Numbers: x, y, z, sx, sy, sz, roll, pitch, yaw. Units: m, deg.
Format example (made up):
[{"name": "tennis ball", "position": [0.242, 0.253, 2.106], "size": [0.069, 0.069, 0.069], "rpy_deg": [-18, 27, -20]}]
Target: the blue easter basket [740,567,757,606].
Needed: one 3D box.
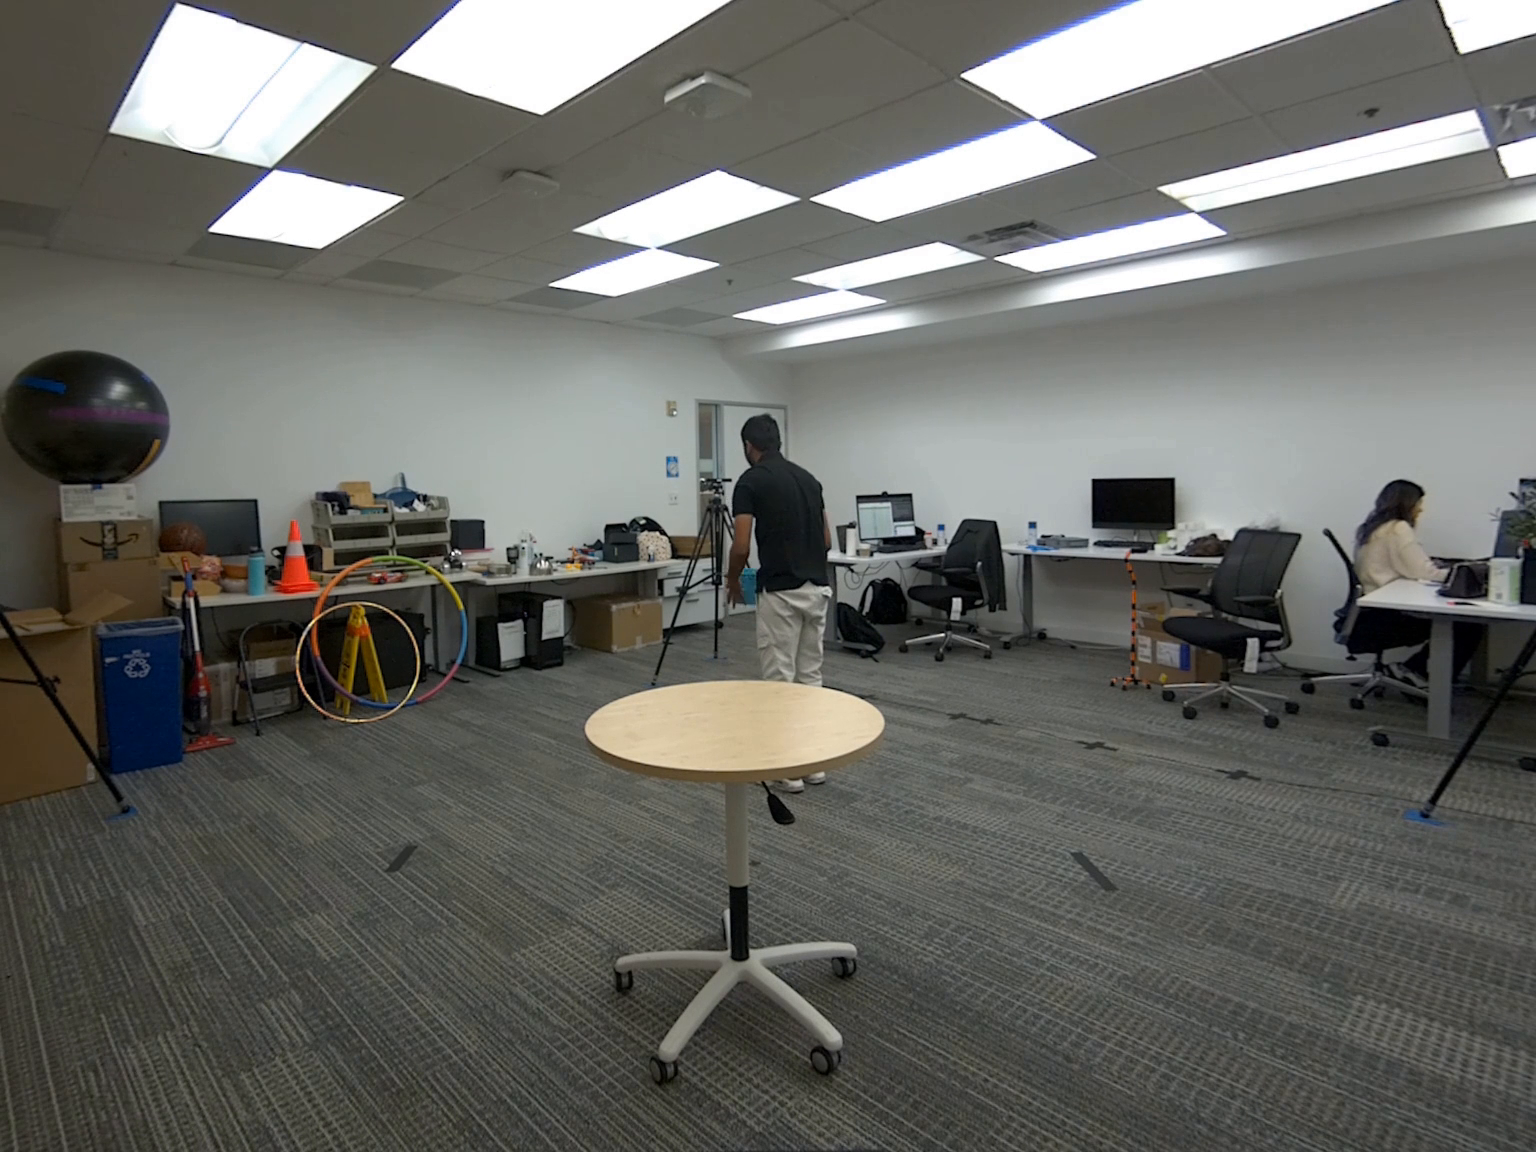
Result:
[{"name": "blue easter basket", "position": [-0.066, 0.056, 4.196], "size": [0.243, 0.155, 0.245], "rpy_deg": [1, 6, -2]}]
